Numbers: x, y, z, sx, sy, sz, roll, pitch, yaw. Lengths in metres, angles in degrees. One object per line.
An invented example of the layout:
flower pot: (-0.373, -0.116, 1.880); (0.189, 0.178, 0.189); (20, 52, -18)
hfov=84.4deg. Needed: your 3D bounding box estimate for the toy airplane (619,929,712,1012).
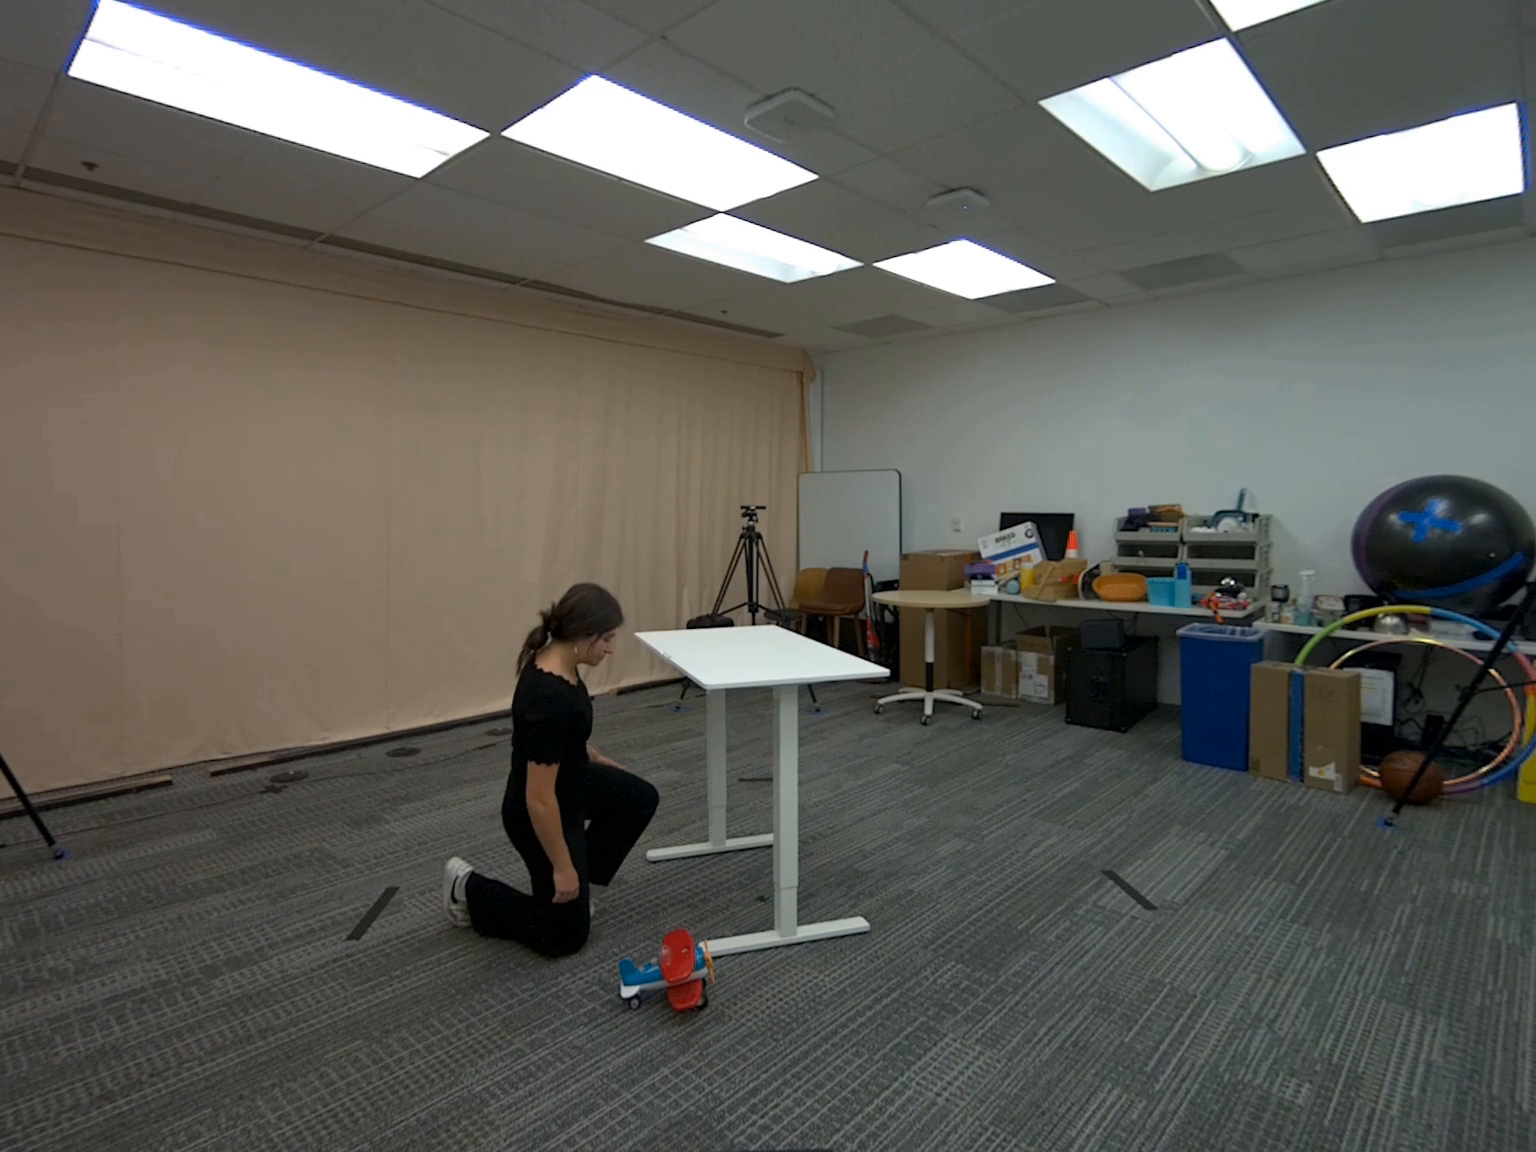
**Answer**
toy airplane: (-0.276, 1.127, 2.336); (0.252, 0.156, 0.259); (-2, 5, -34)
